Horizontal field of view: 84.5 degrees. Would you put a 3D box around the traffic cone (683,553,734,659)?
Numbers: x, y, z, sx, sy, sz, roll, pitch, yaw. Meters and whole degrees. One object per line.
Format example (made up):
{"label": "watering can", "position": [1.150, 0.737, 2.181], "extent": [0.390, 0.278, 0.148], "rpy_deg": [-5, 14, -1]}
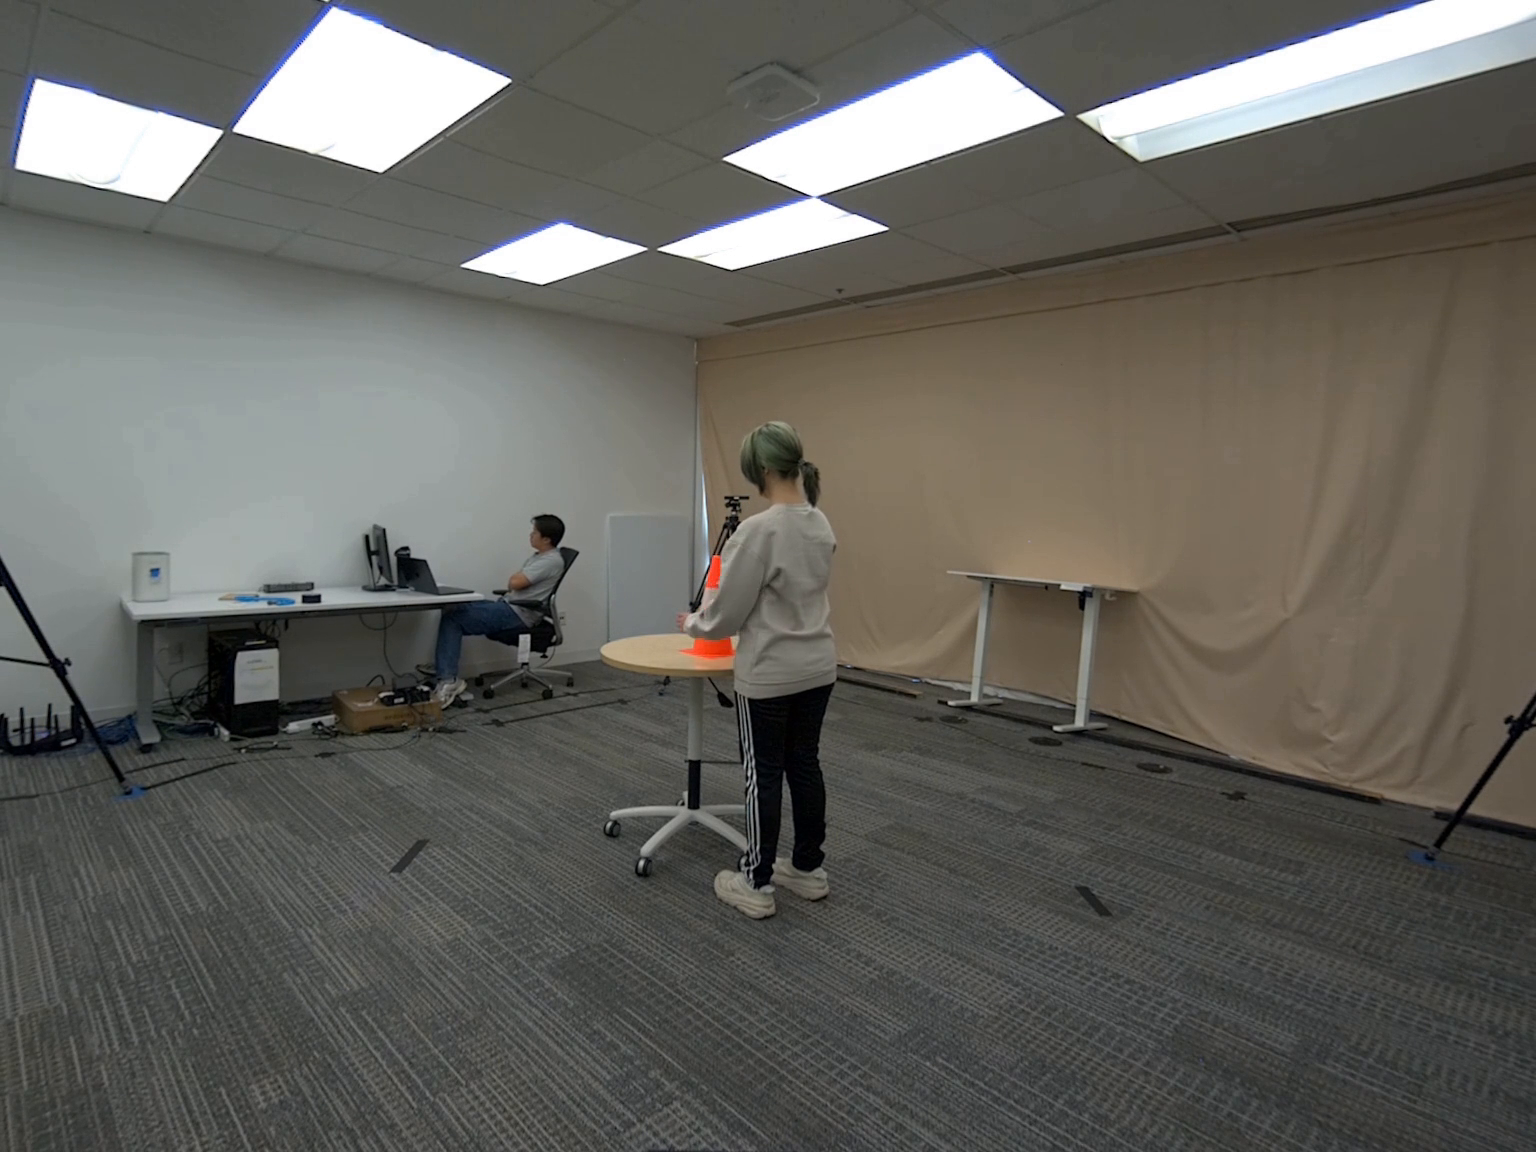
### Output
{"label": "traffic cone", "position": [-0.216, 0.115, 3.297], "extent": [0.208, 0.383, 0.200], "rpy_deg": [5, 4, 41]}
